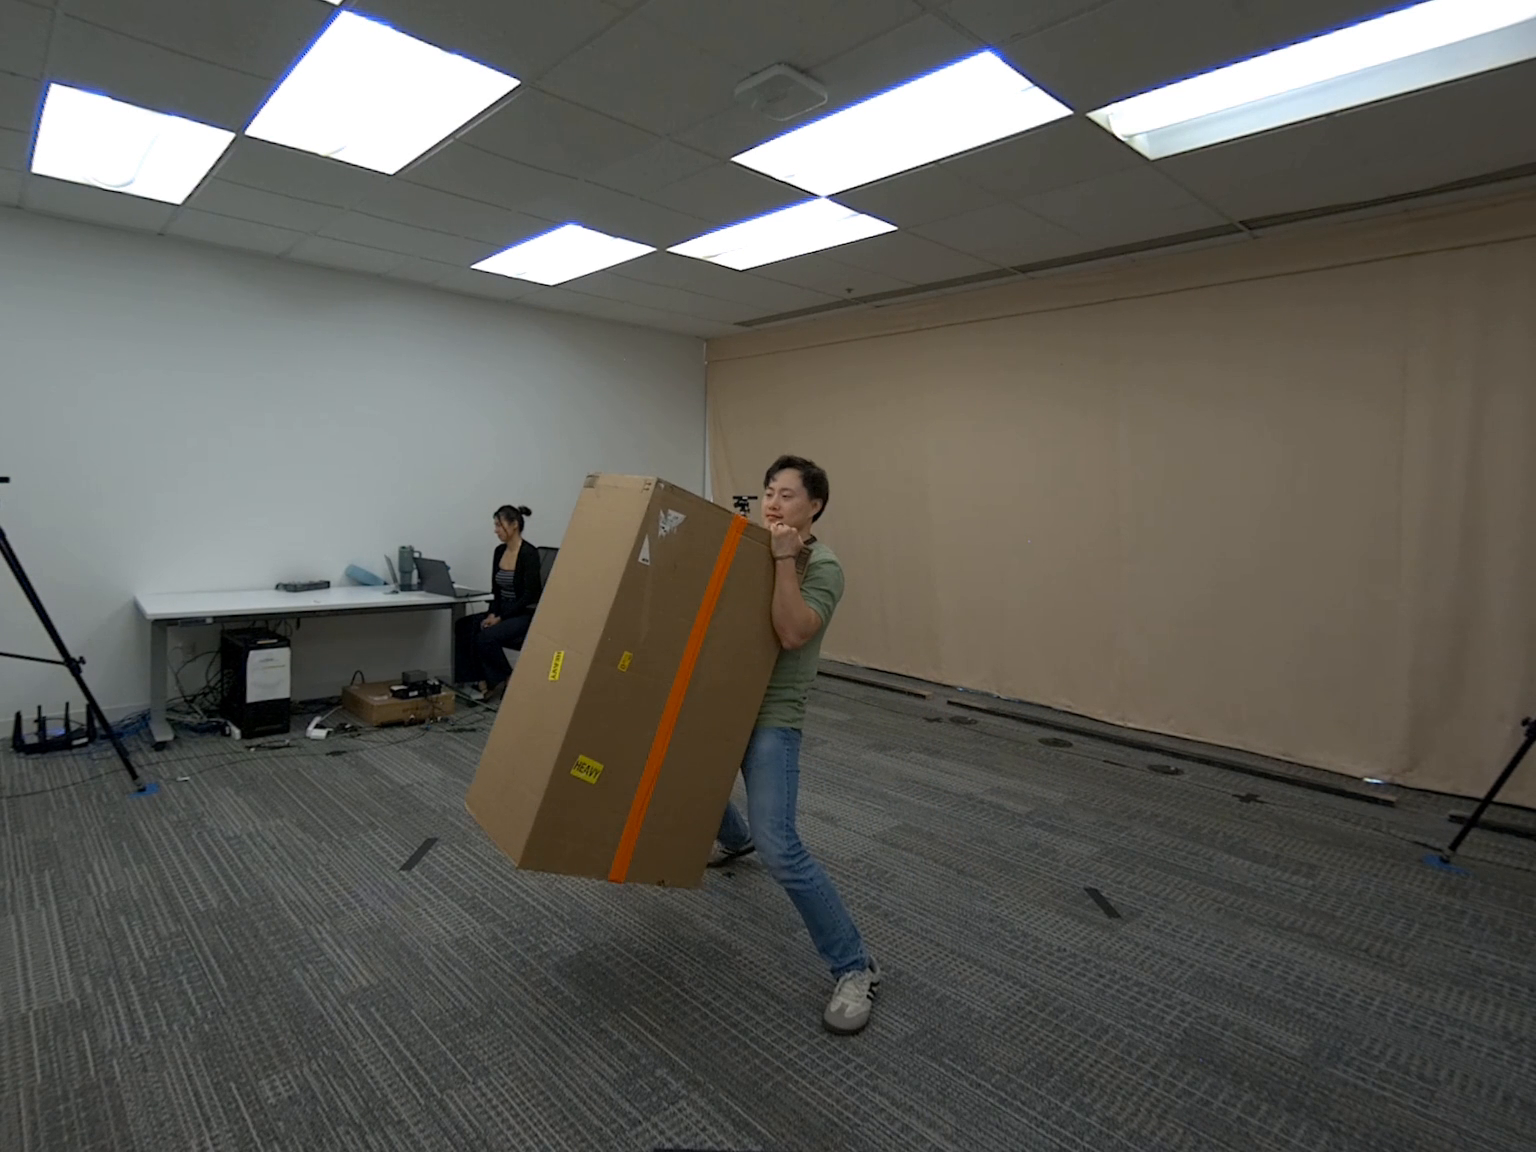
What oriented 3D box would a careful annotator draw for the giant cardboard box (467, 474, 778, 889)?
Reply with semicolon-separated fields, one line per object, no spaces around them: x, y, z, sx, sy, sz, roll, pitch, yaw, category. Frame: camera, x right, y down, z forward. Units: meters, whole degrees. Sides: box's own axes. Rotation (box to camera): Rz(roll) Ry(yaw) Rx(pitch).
-0.380;0.302;2.421;0.561;1.028;0.437;21;-7;-35;giant cardboard box
